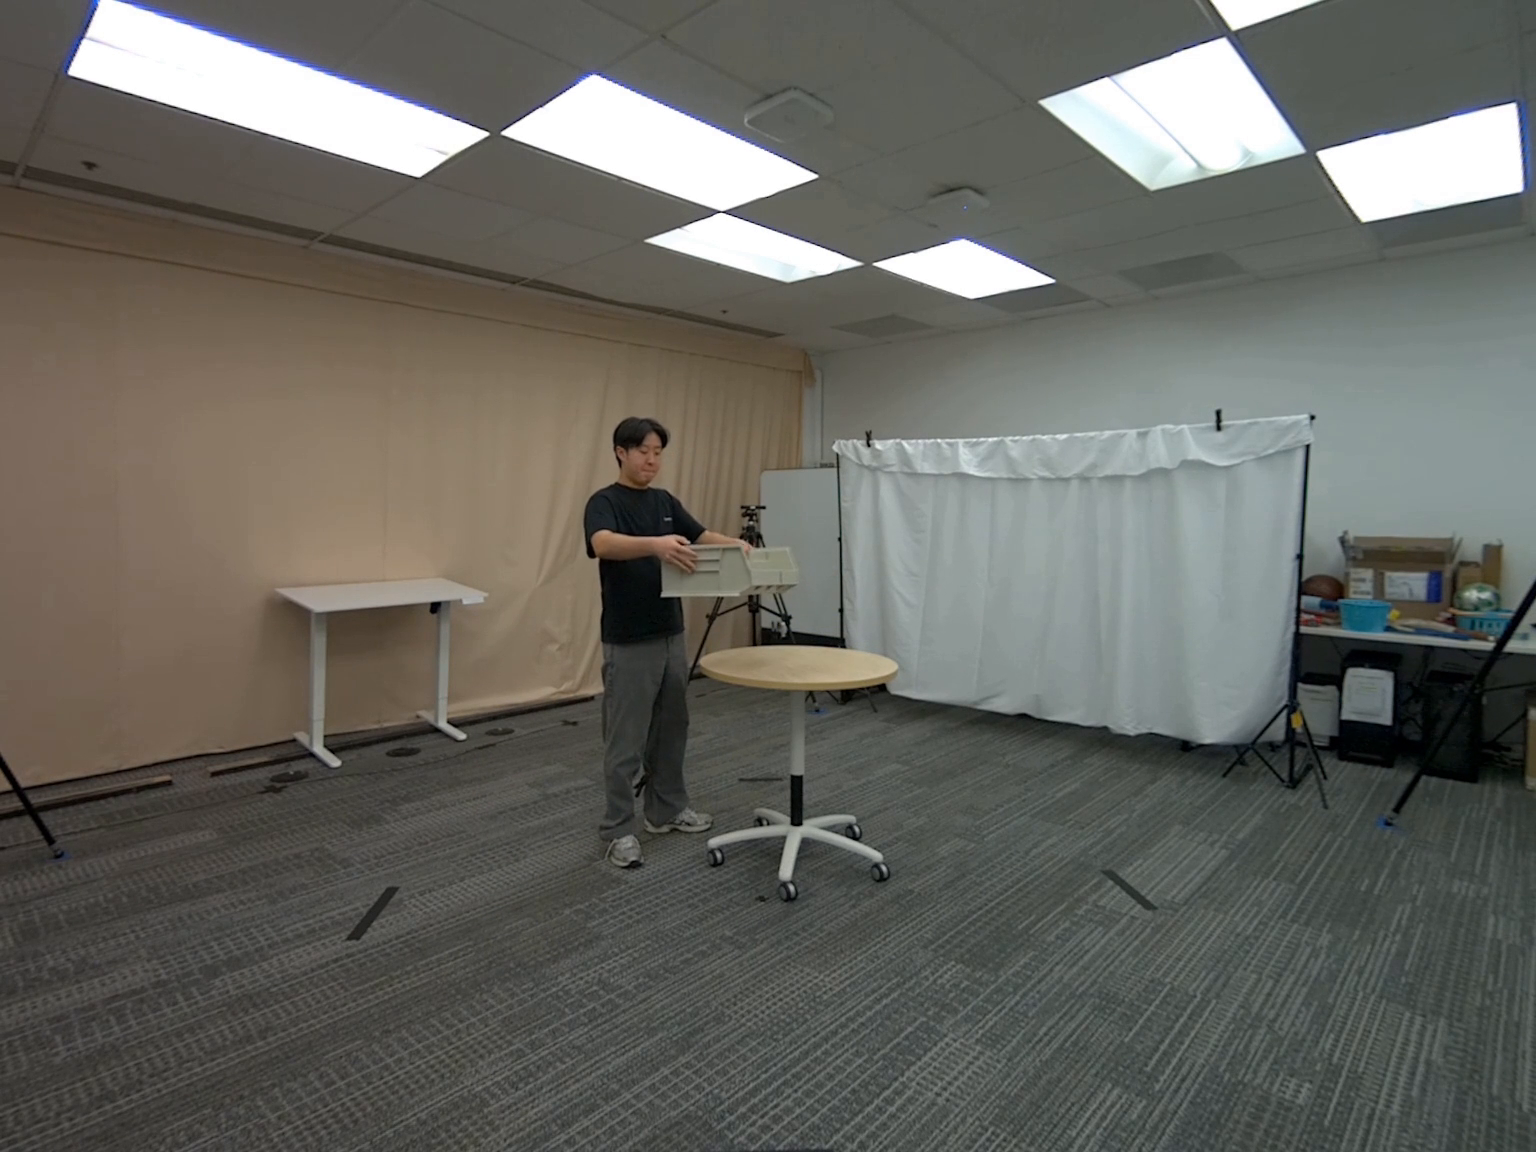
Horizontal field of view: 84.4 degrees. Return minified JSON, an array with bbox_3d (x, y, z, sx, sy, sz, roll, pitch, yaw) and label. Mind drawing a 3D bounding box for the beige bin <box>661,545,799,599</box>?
[{"bbox_3d":[-0.138,-0.016,3.104,0.387,0.189,0.411,-3,0,26],"label":"beige bin"}]
